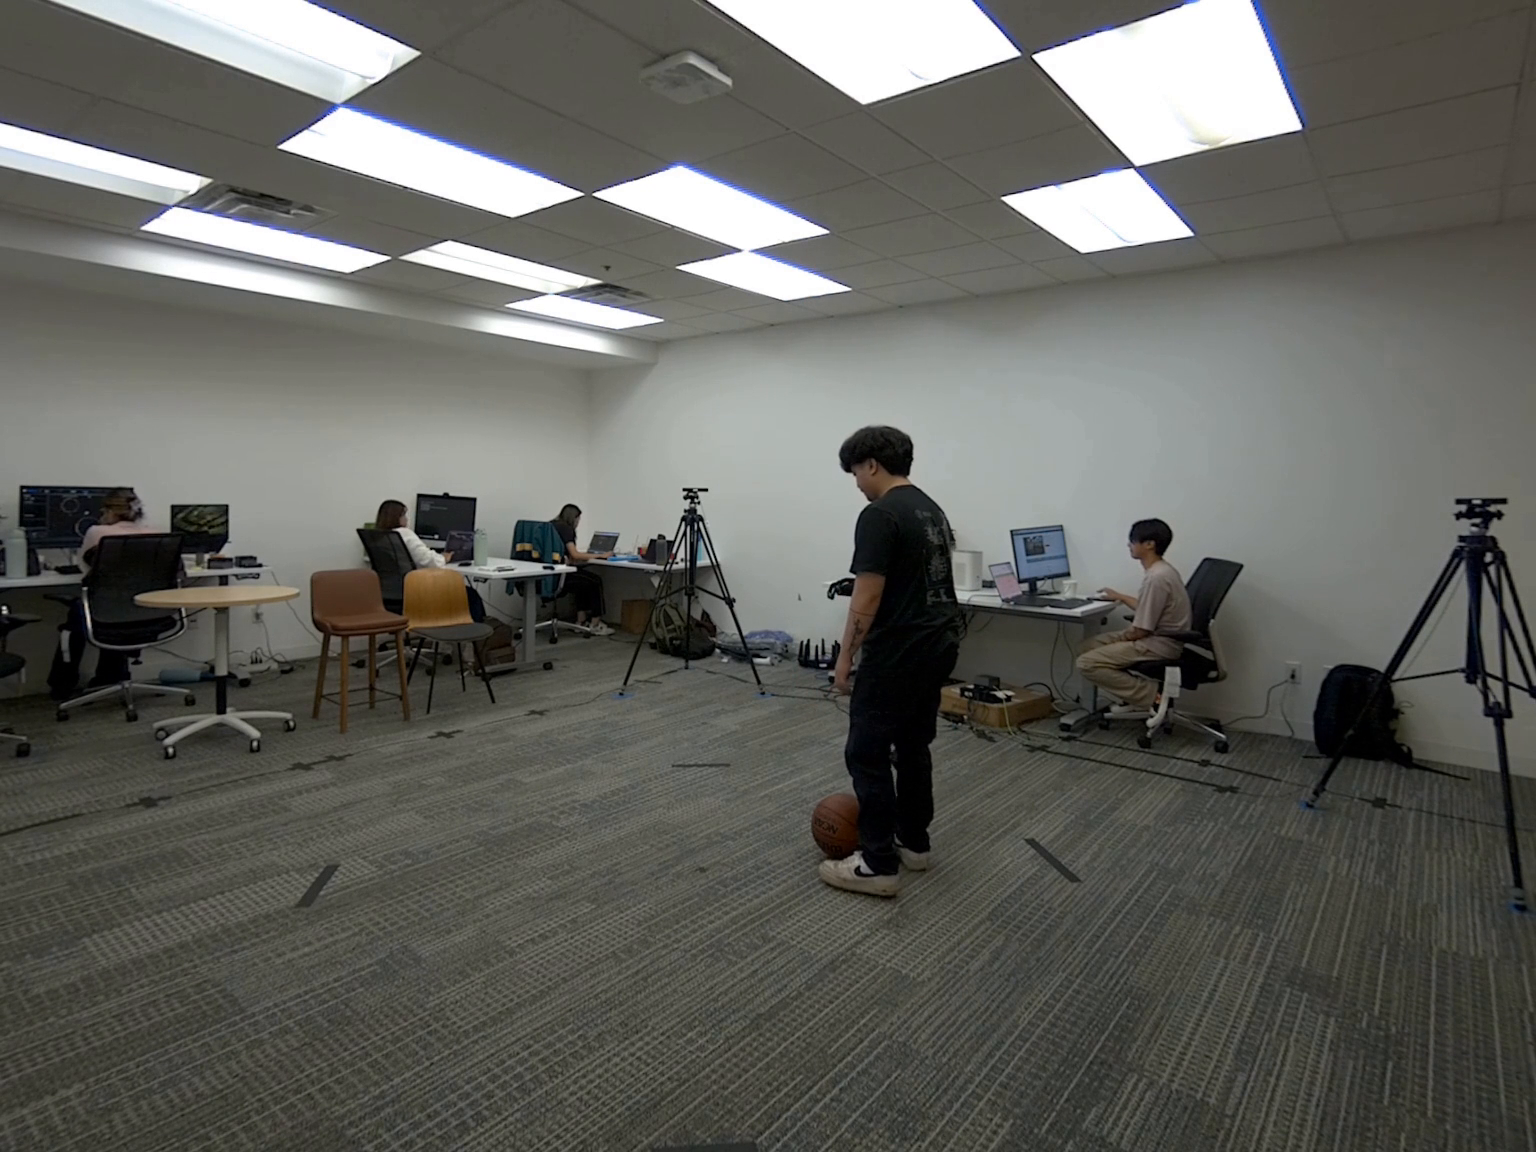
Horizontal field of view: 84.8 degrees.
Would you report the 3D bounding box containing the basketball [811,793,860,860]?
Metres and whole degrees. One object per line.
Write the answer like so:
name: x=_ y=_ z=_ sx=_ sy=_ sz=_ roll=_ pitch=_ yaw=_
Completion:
basketball: x=0.271 y=0.944 z=3.231 sx=0.235 sy=0.235 sz=0.237 roll=1 pitch=4 yaw=-2
